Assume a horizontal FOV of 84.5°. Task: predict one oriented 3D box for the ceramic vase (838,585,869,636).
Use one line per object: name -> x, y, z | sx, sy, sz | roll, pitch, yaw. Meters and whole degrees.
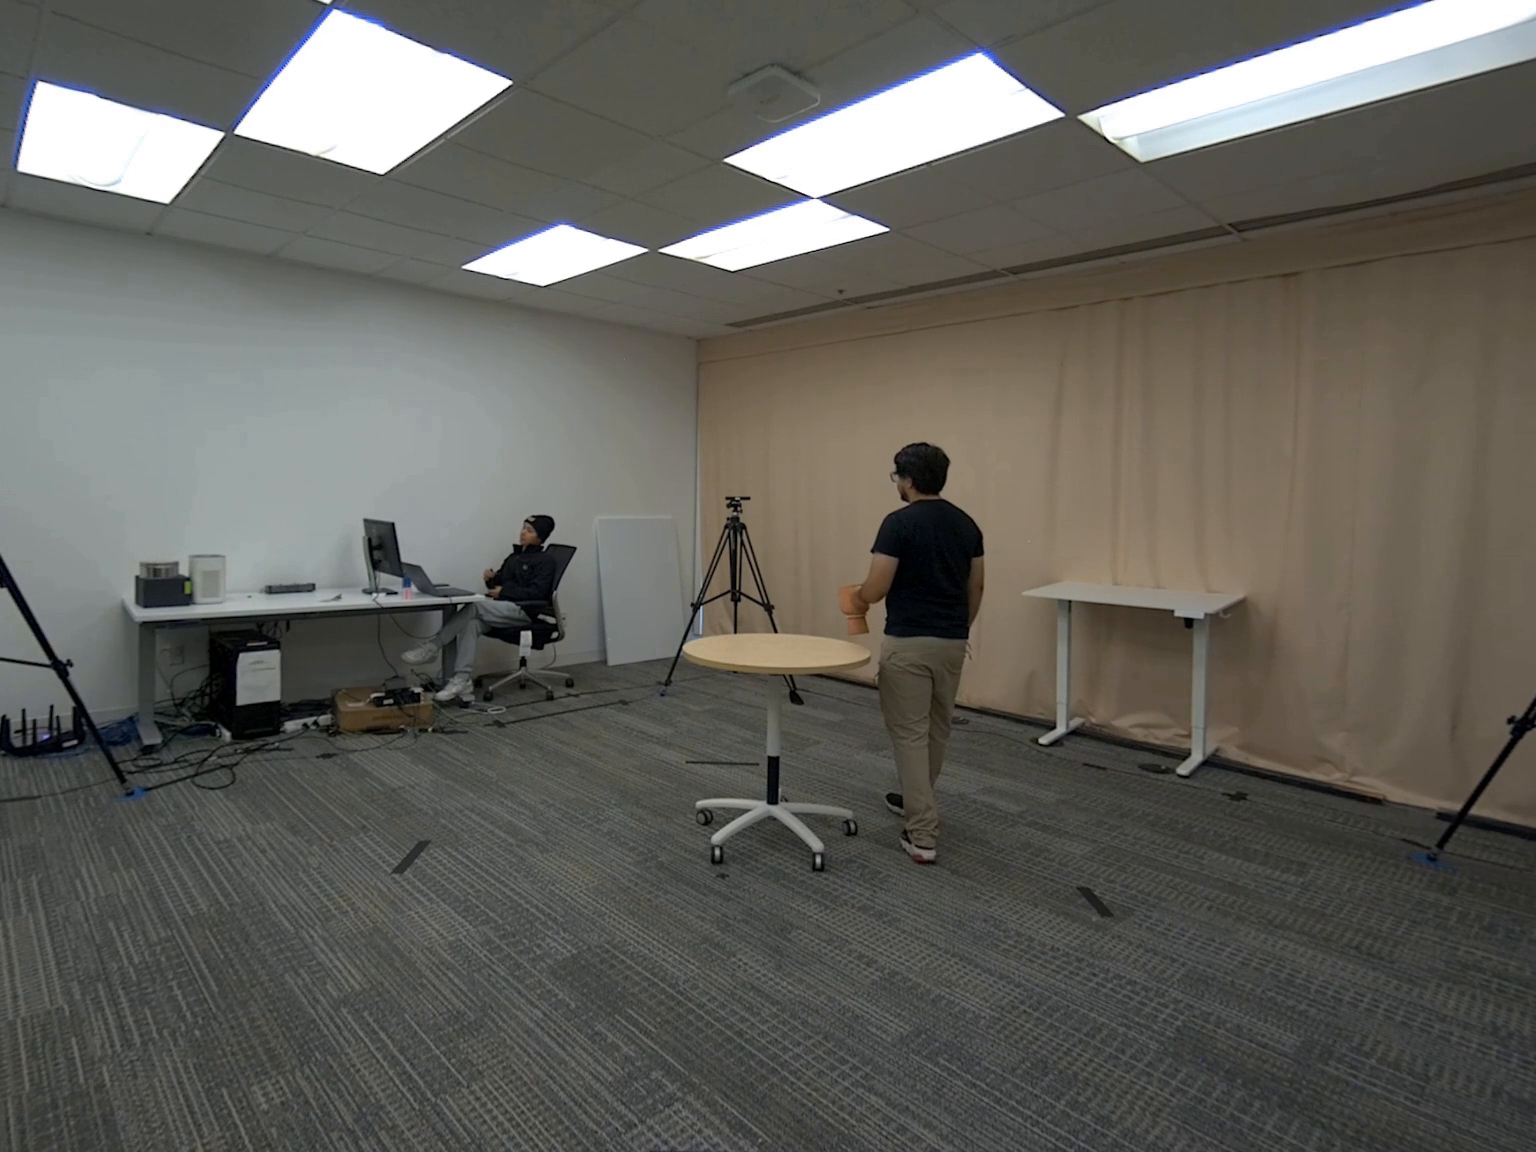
ceramic vase -> 0.389, 0.149, 3.789 | 0.137, 0.221, 0.155 | -11, -7, 40
